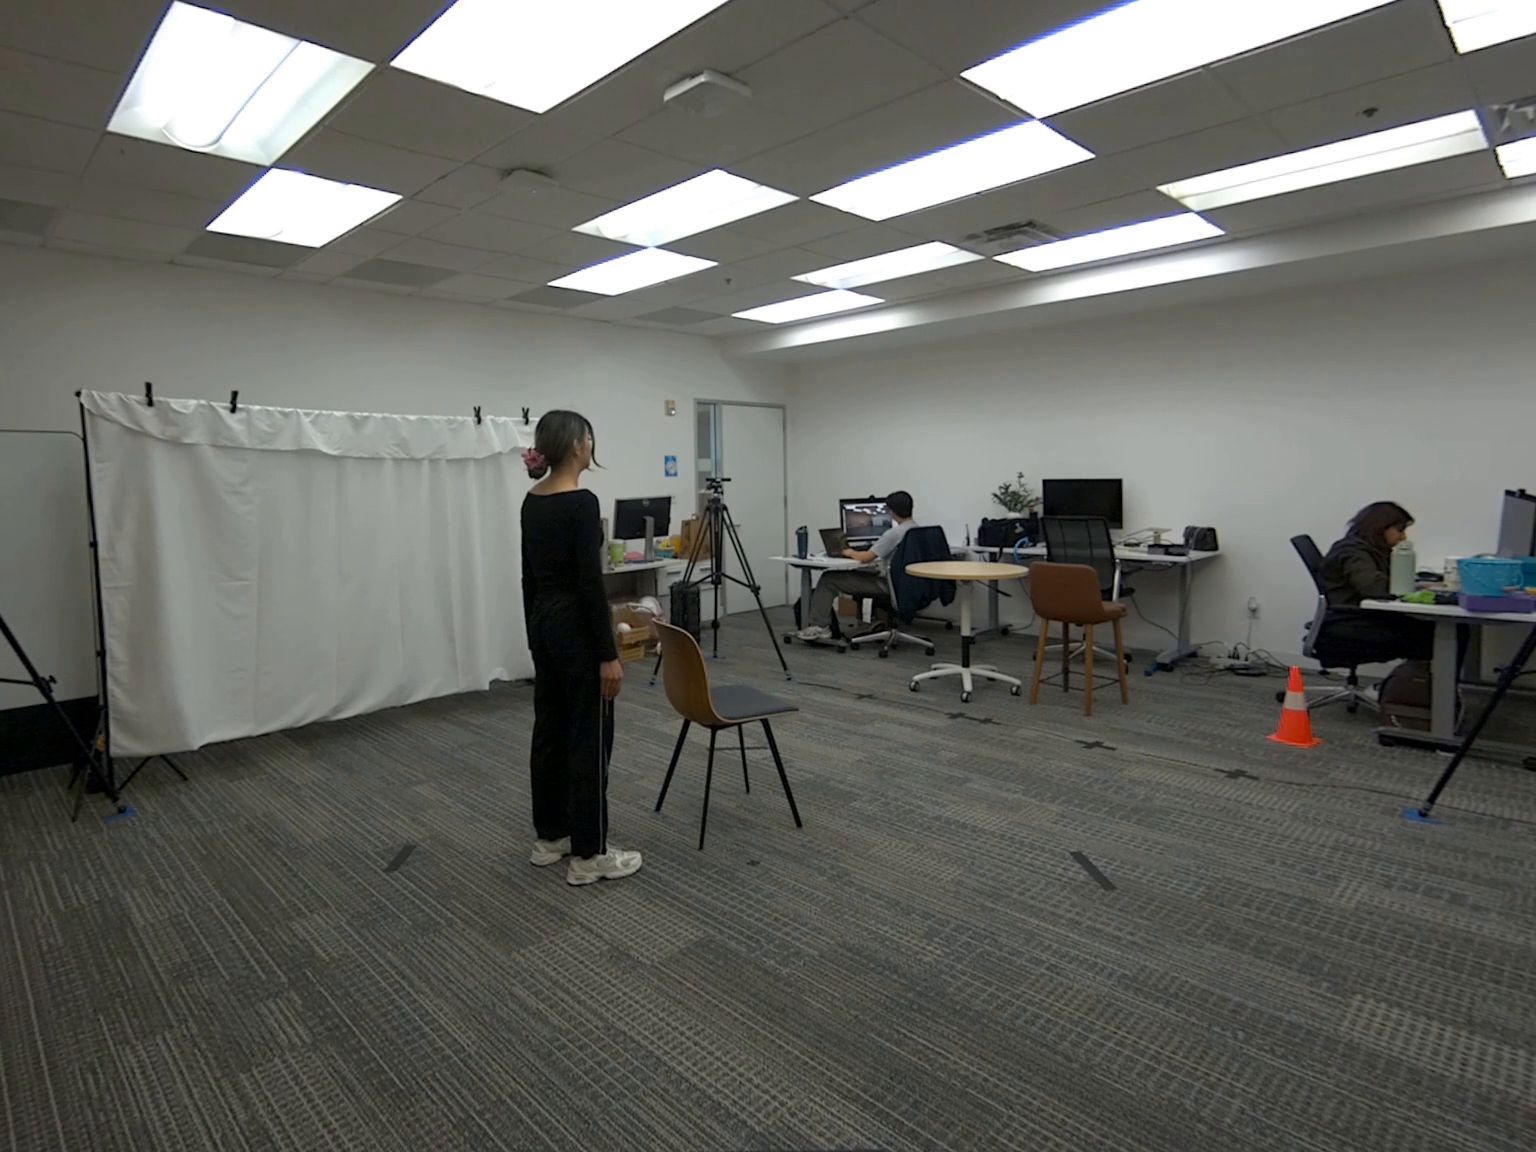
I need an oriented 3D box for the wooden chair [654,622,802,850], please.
[{"bbox_3d":[-0.172,0.576,3.484,0.513,0.872,0.490,-8,7,-28],"label":"wooden chair"}]
